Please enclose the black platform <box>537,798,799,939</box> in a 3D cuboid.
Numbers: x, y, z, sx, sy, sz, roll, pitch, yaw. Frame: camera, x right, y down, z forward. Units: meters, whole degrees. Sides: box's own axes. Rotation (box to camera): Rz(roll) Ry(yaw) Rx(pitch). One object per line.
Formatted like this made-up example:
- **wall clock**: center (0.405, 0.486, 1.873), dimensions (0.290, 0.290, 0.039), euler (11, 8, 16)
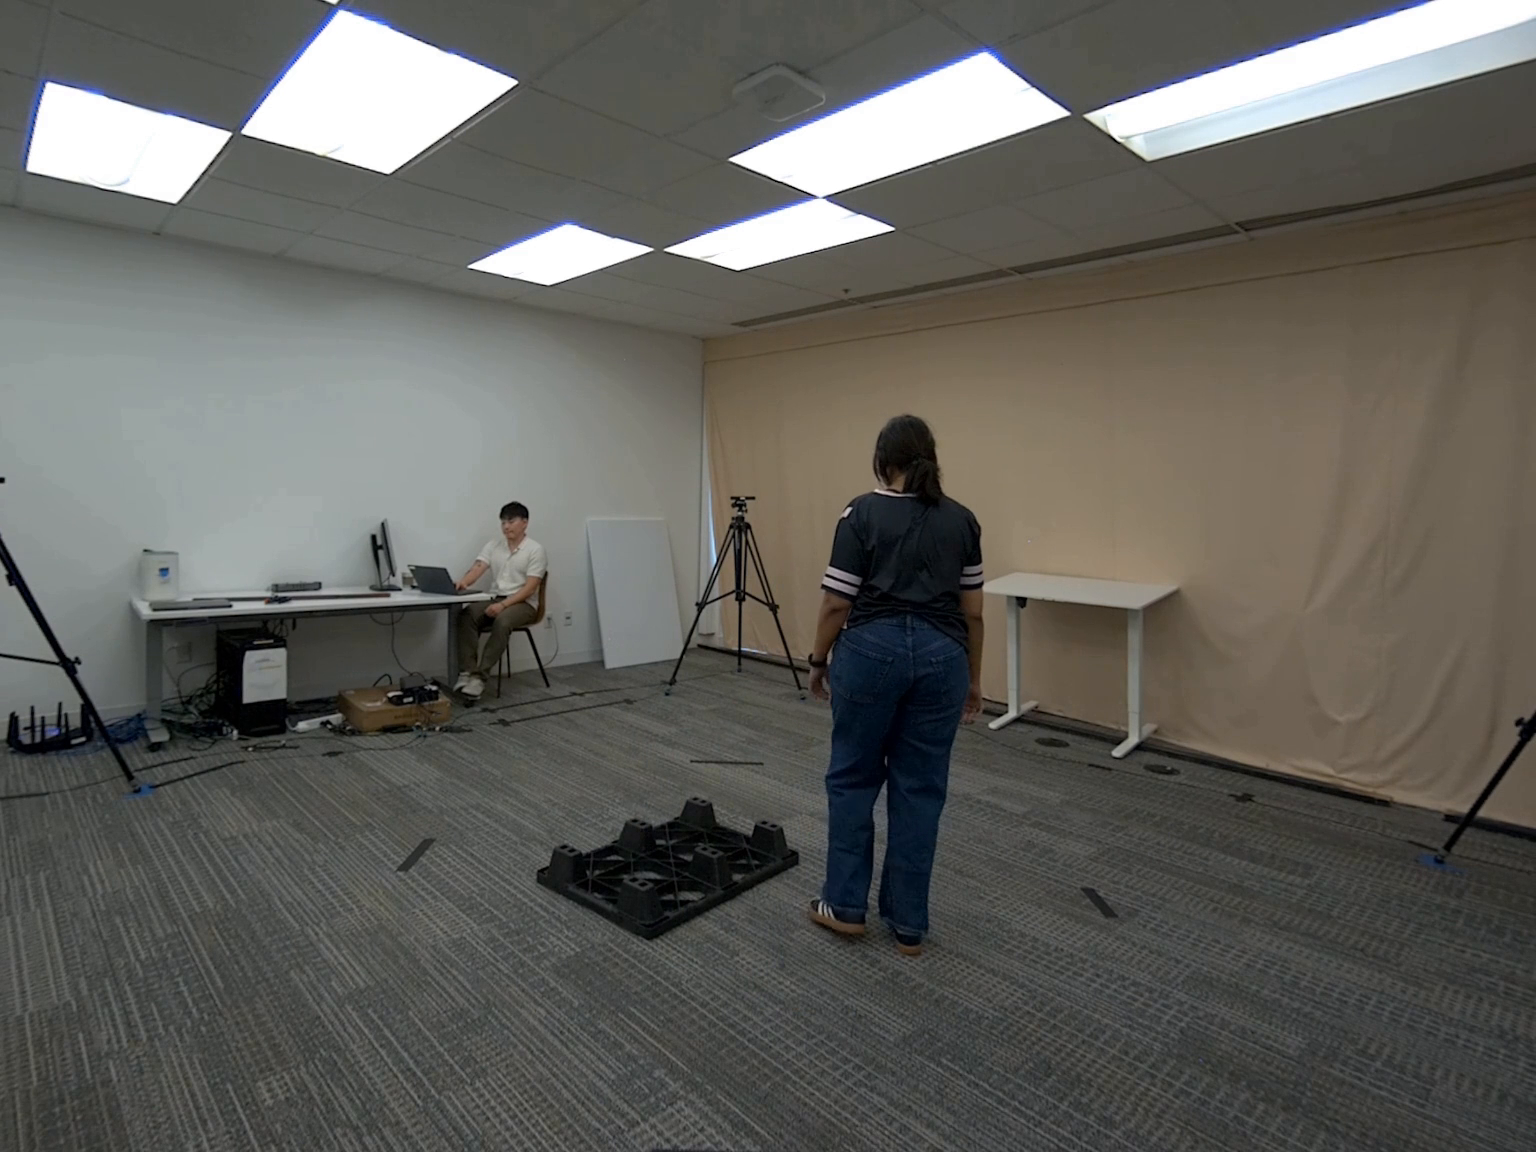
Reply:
- **black platform**: center (-0.362, 1.033, 3.124), dimensions (0.620, 0.143, 0.788), euler (6, 7, 40)
